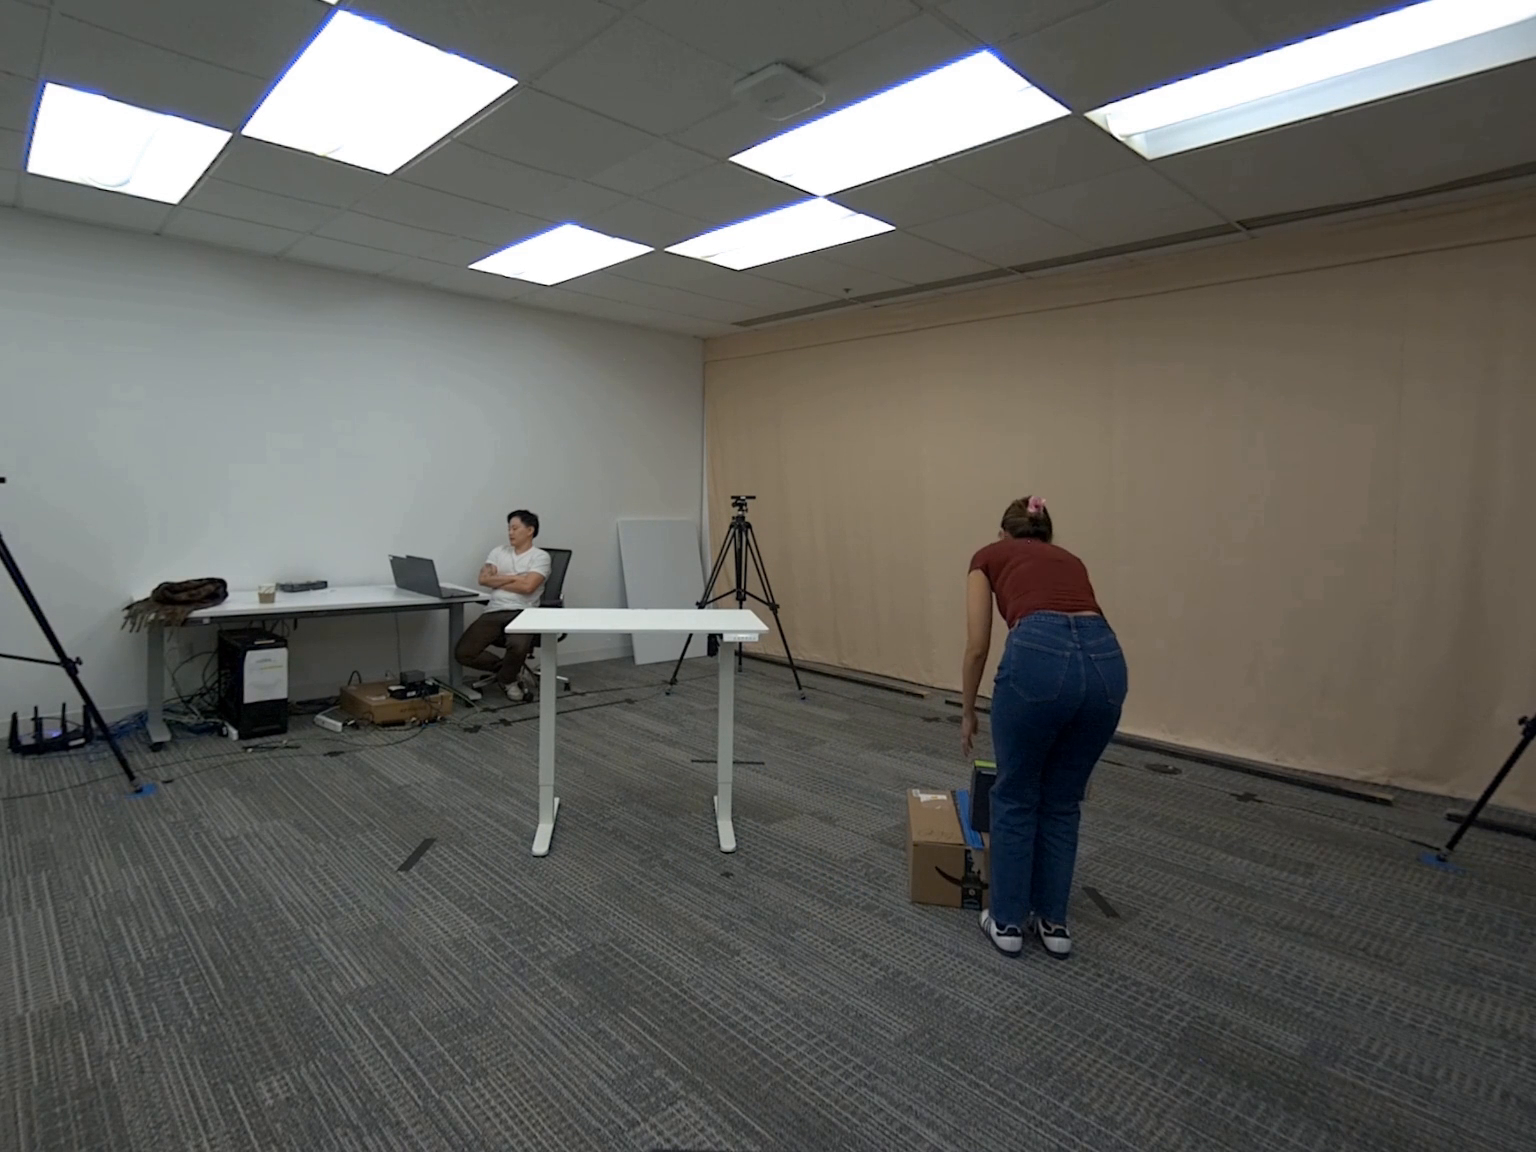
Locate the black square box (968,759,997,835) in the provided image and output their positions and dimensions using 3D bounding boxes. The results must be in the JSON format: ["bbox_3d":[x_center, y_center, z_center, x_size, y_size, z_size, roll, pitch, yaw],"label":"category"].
[{"bbox_3d":[0.854,0.805,3.053,0.230,0.216,0.154,6,4,12],"label":"black square box"}]
